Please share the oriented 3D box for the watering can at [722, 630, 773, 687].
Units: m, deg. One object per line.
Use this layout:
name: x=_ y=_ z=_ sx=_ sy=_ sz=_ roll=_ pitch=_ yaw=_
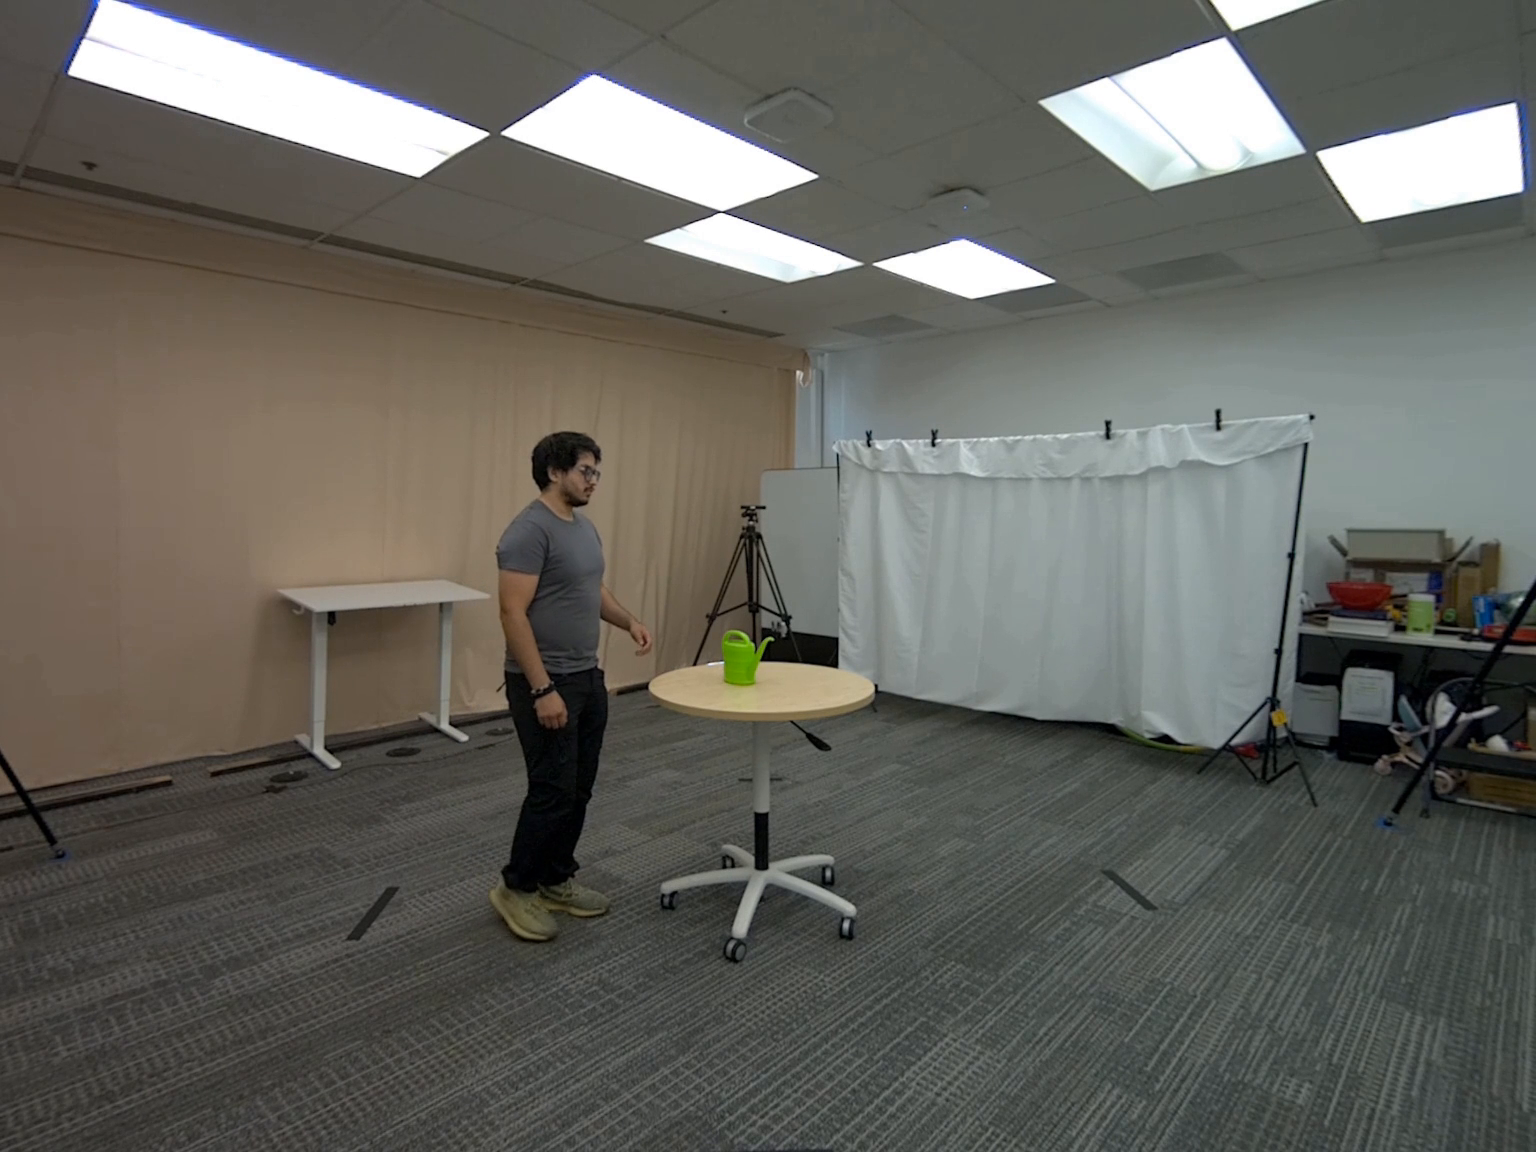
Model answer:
watering can: x=-0.077 y=0.283 z=2.859 sx=0.096 sy=0.176 sz=0.285 roll=-1 pitch=4 yaw=-24
